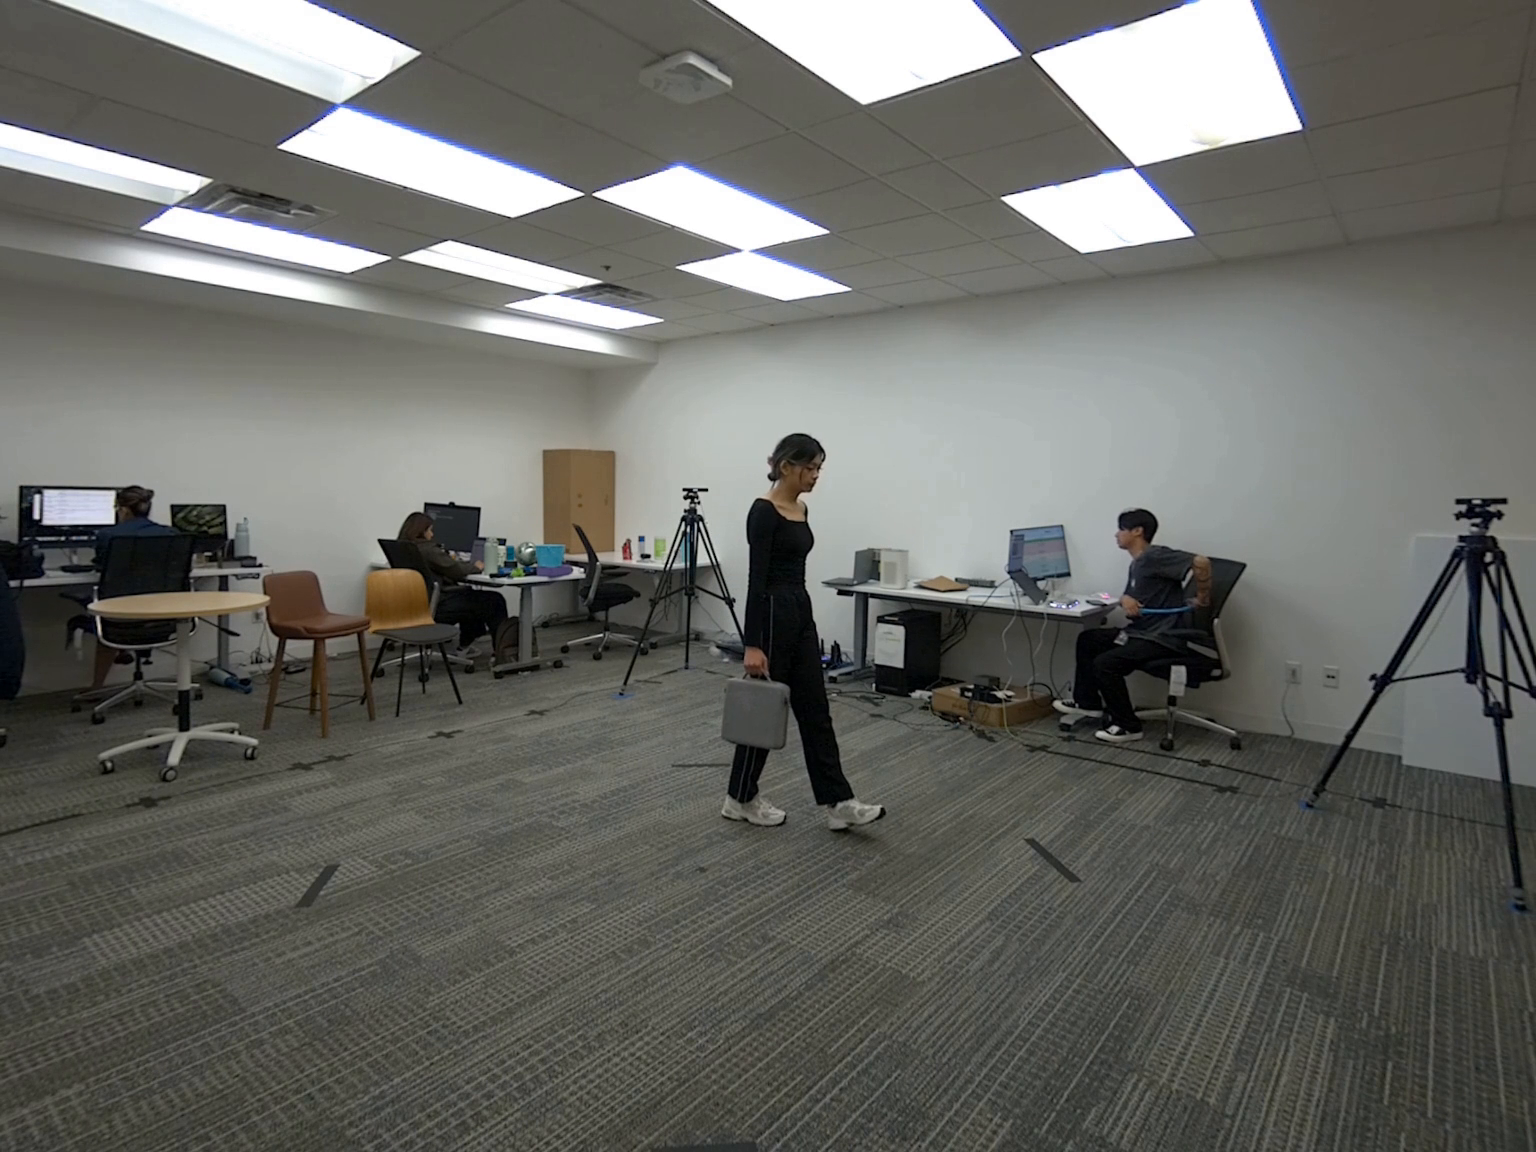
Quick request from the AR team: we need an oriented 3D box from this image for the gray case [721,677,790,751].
[{"bbox_3d":[-0.051,0.529,3.344,0.263,0.261,0.101,3,-2,25],"label":"gray case"}]
